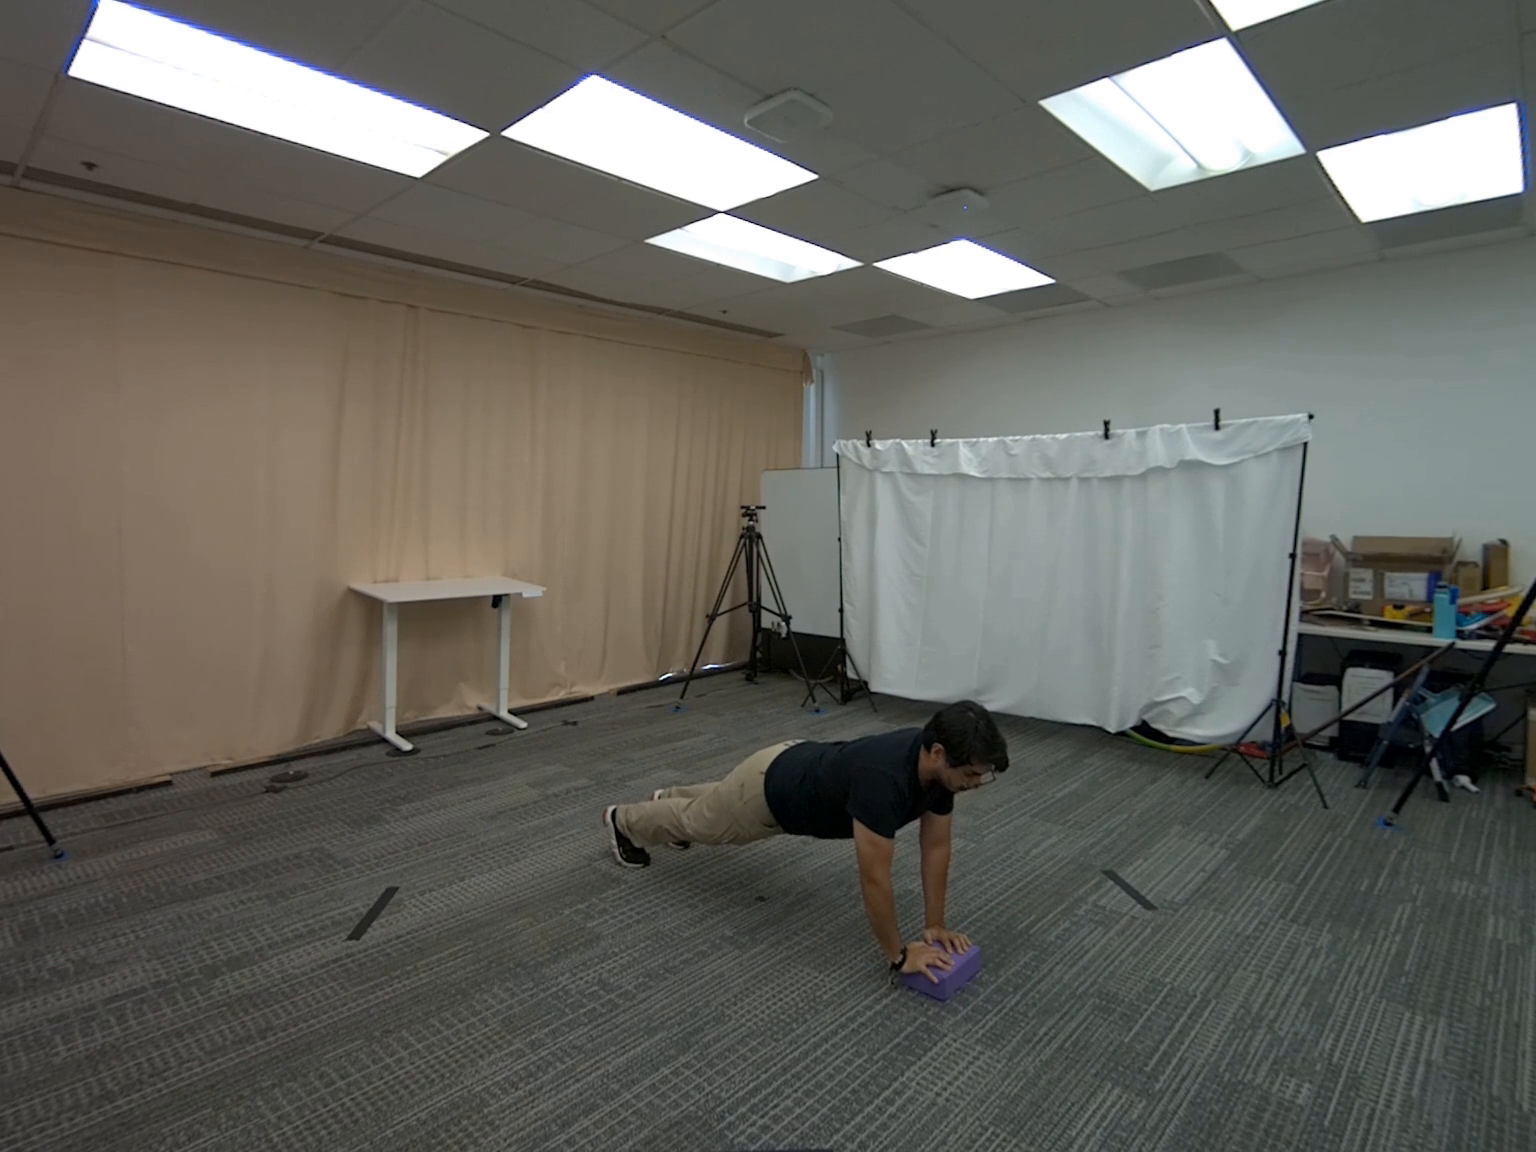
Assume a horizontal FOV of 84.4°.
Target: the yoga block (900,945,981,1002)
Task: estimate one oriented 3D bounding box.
[{"bbox_3d":[0.516,1.151,2.479,0.154,0.076,0.222,5,7,41],"label":"yoga block"}]
